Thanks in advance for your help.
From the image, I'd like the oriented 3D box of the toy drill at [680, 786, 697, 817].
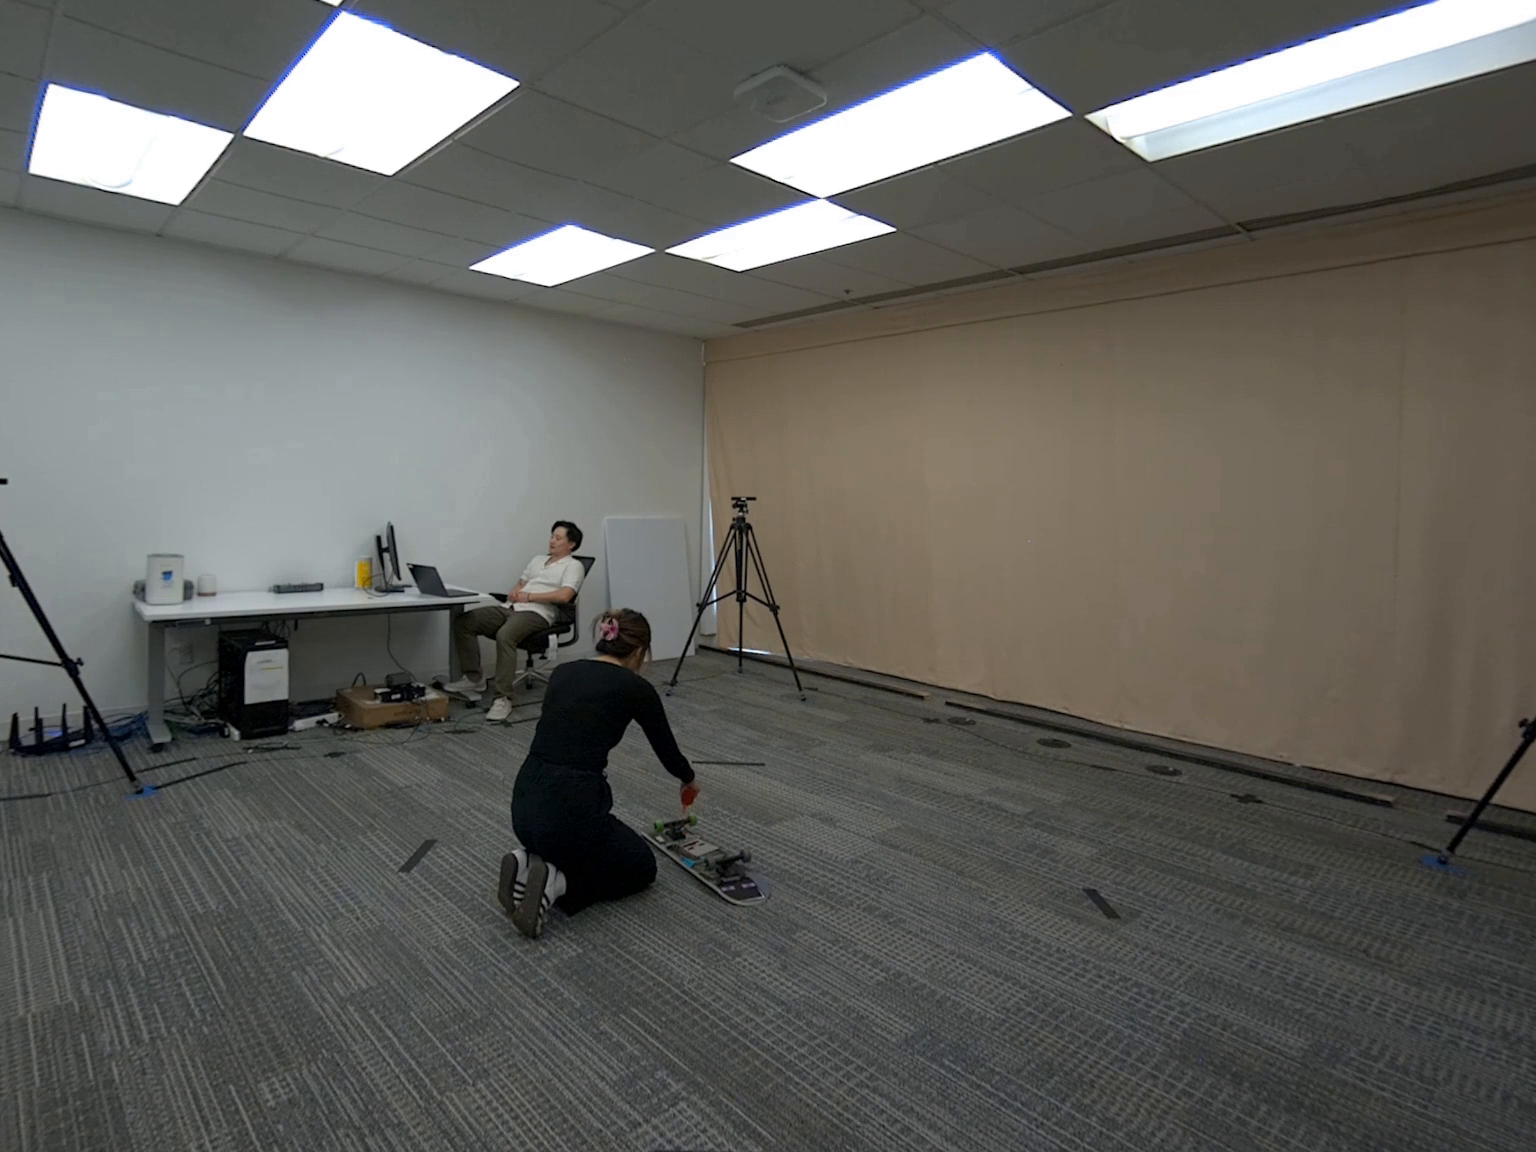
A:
[{"bbox_3d":[-0.333,0.889,3.350,0.061,0.169,0.147,8,4,-5],"label":"toy drill"}]
